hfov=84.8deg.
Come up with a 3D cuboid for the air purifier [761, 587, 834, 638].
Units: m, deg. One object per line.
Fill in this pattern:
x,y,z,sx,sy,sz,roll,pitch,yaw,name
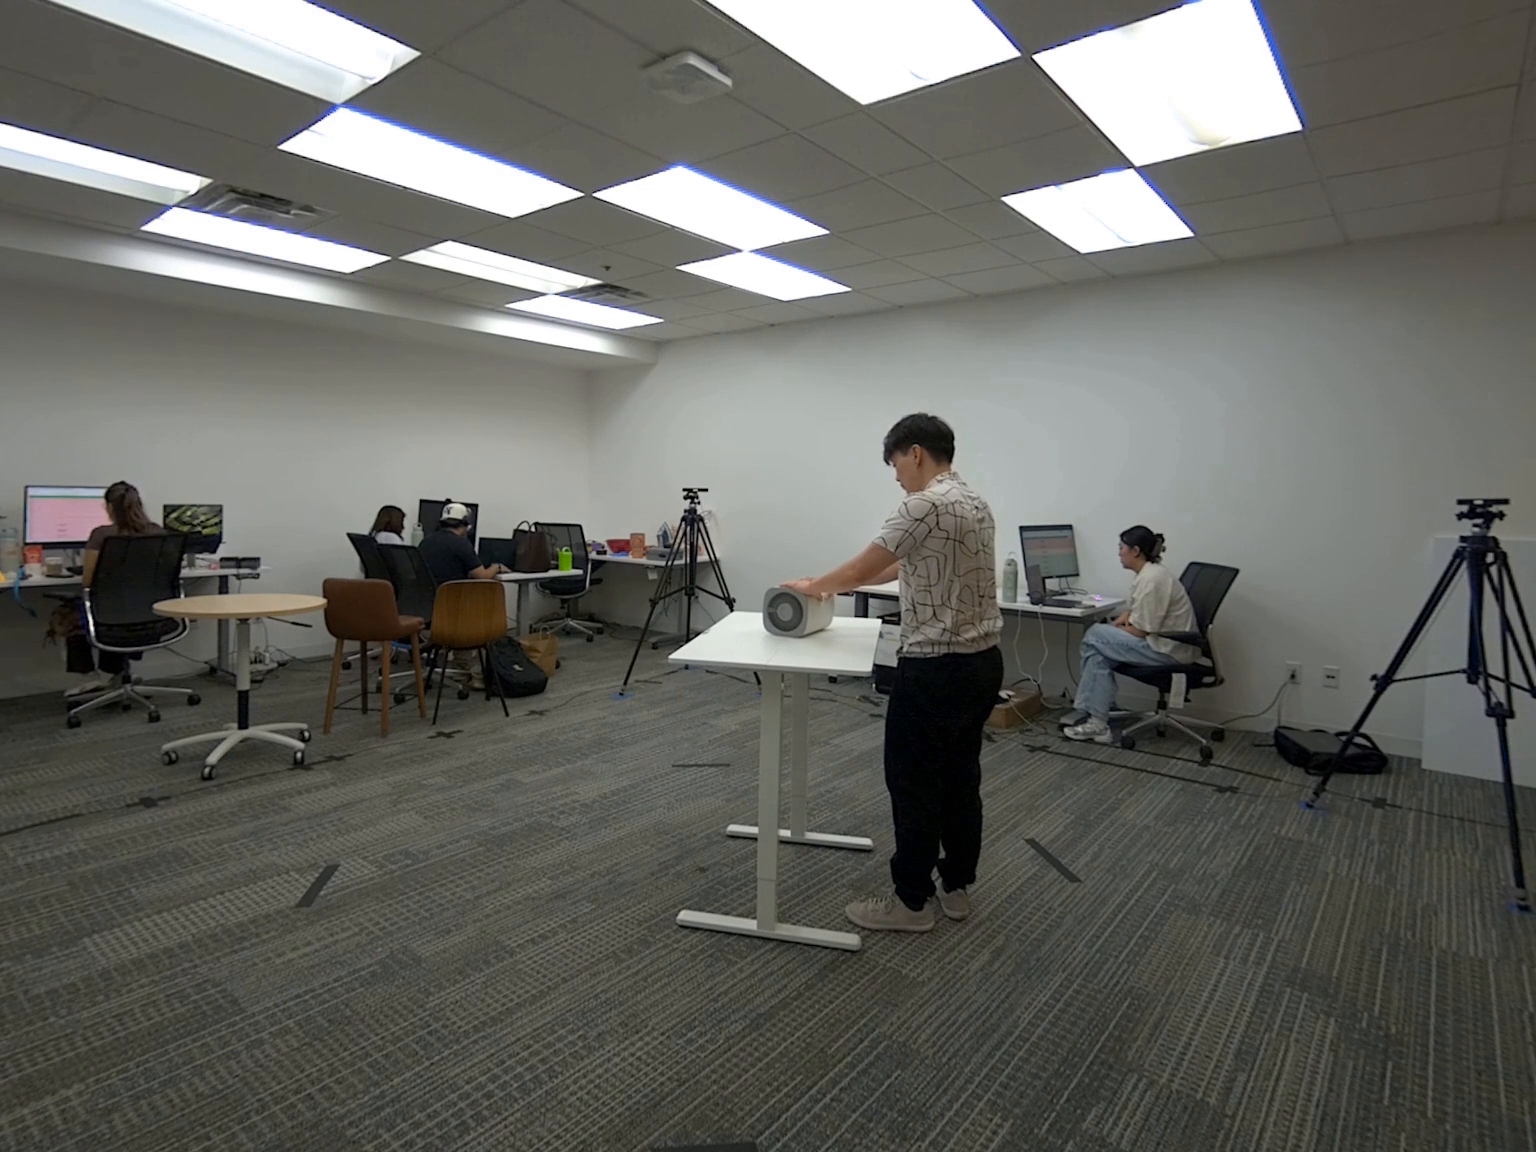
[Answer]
0.108,0.112,3.059,0.176,0.170,0.259,6,7,28,air purifier
